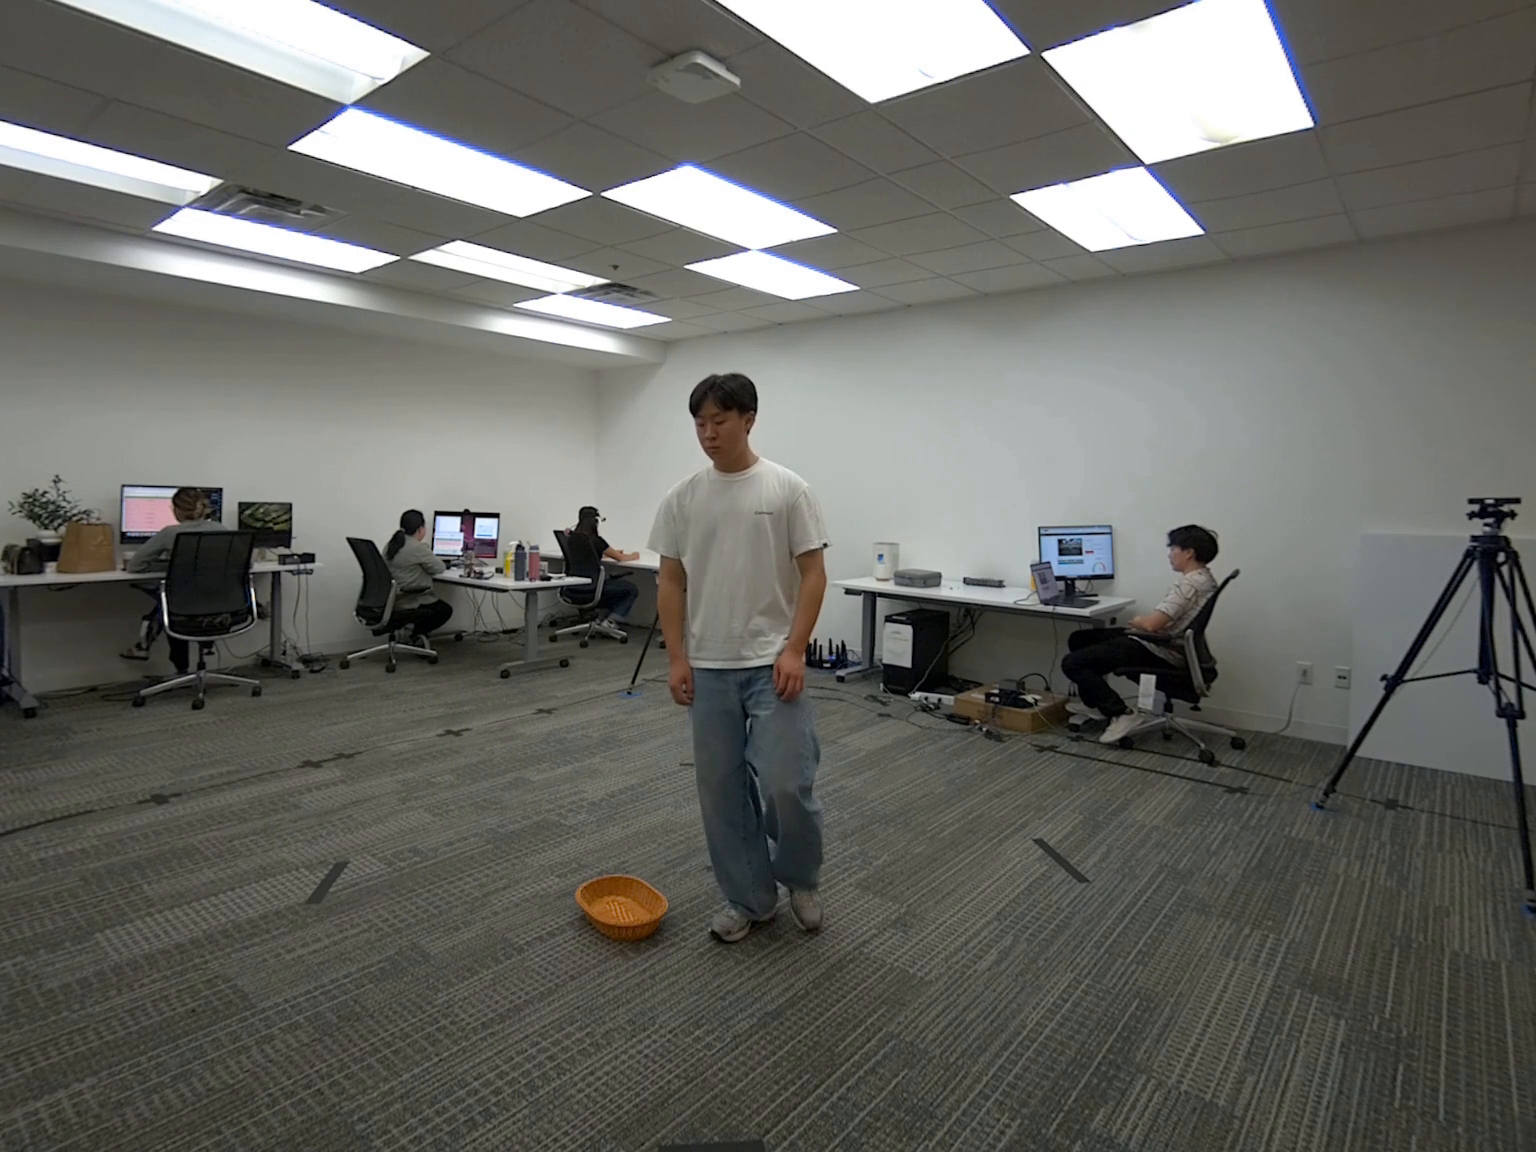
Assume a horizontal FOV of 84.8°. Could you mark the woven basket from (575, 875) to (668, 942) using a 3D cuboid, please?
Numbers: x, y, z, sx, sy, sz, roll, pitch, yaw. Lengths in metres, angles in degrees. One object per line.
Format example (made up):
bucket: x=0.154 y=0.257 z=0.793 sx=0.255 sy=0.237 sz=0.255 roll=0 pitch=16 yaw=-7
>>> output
woven basket: x=-0.479 y=1.063 z=2.728 sx=0.245 sy=0.073 sz=0.362 roll=-3 pitch=7 yaw=-35
